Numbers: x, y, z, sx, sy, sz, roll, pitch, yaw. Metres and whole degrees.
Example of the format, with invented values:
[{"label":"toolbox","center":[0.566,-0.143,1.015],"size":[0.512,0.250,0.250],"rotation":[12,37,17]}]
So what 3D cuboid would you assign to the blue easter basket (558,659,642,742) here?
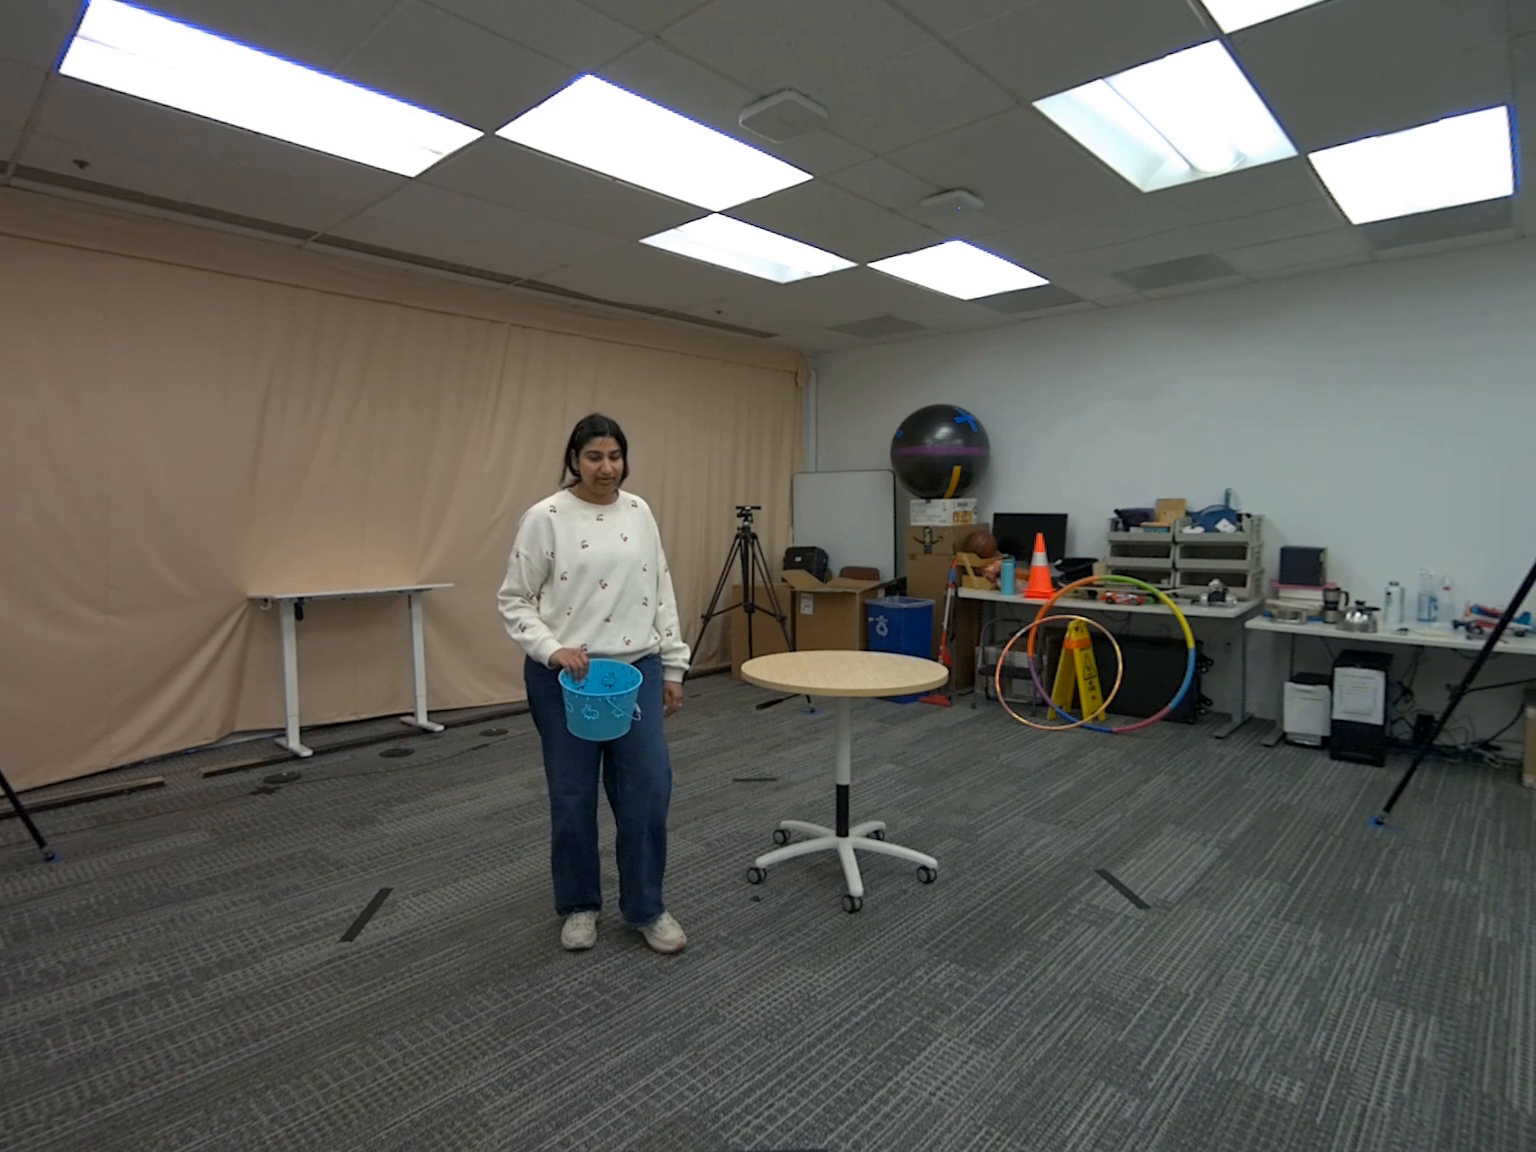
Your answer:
[{"label":"blue easter basket","center":[-0.477,0.355,2.391],"size":[0.243,0.154,0.246],"rotation":[2,18,-2]}]
